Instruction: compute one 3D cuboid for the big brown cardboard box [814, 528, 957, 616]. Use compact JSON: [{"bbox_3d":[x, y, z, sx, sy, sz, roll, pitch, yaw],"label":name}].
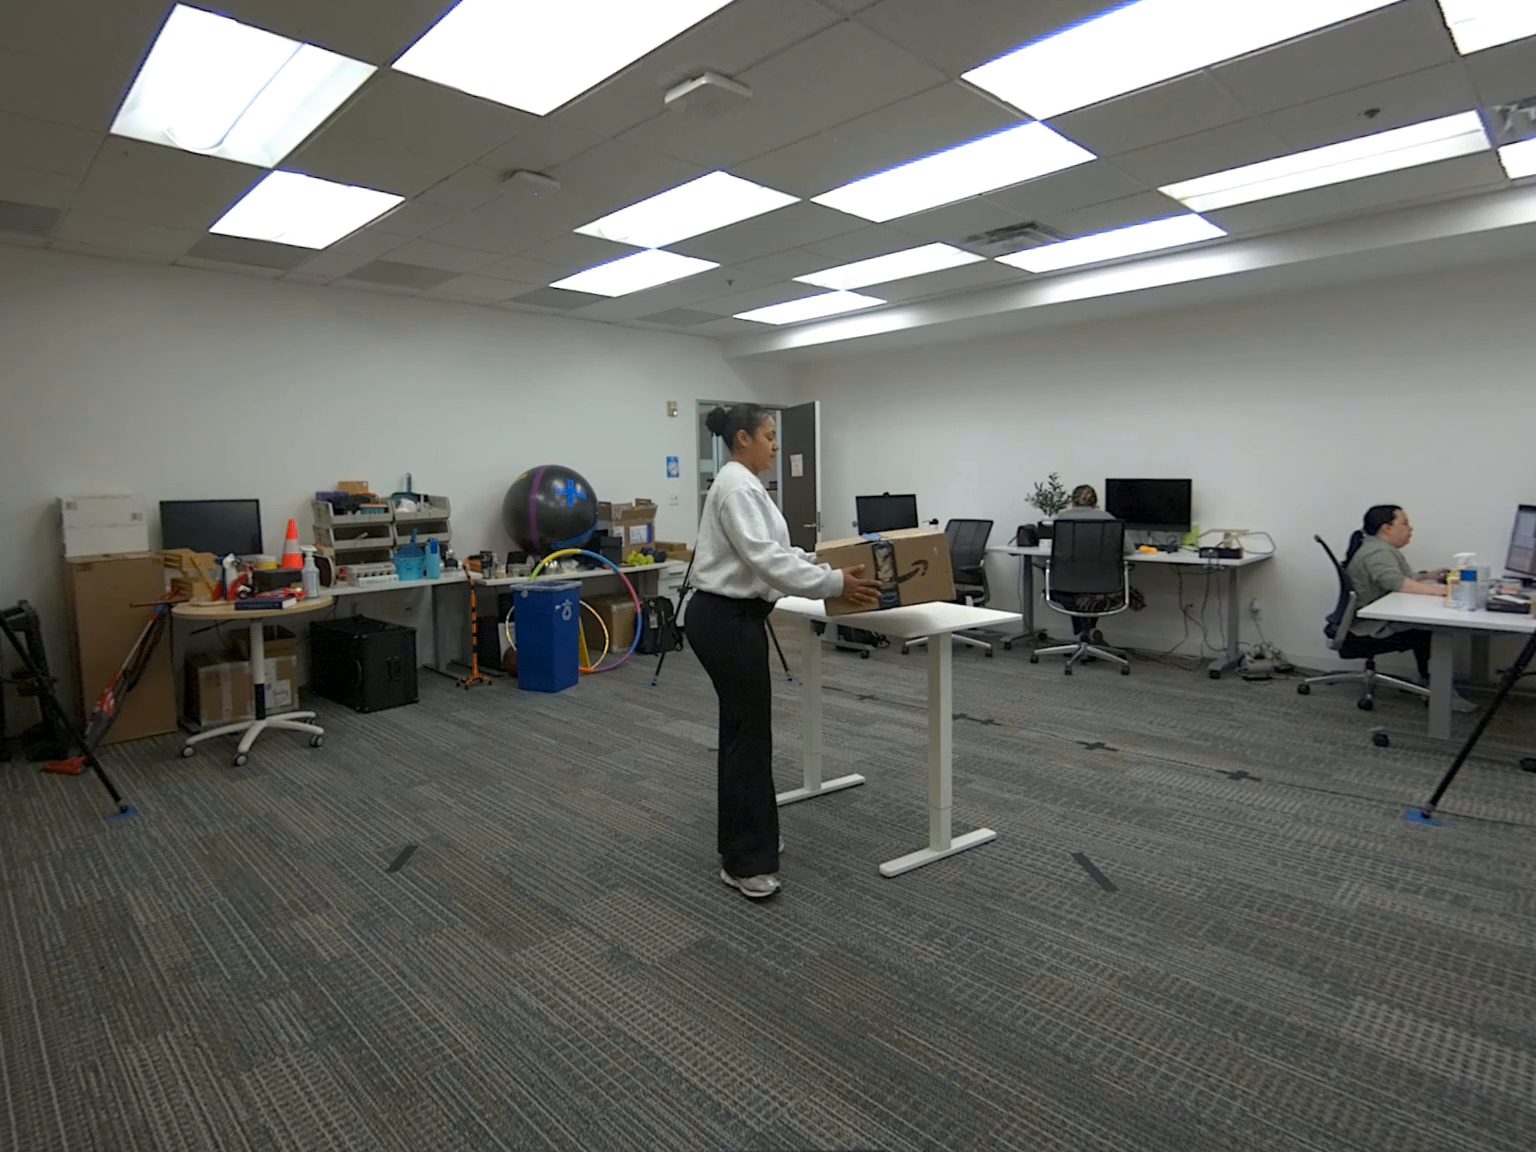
[{"bbox_3d":[0.379,-0.024,2.986,0.420,0.233,0.587,-8,3,5],"label":"big brown cardboard box"}]
